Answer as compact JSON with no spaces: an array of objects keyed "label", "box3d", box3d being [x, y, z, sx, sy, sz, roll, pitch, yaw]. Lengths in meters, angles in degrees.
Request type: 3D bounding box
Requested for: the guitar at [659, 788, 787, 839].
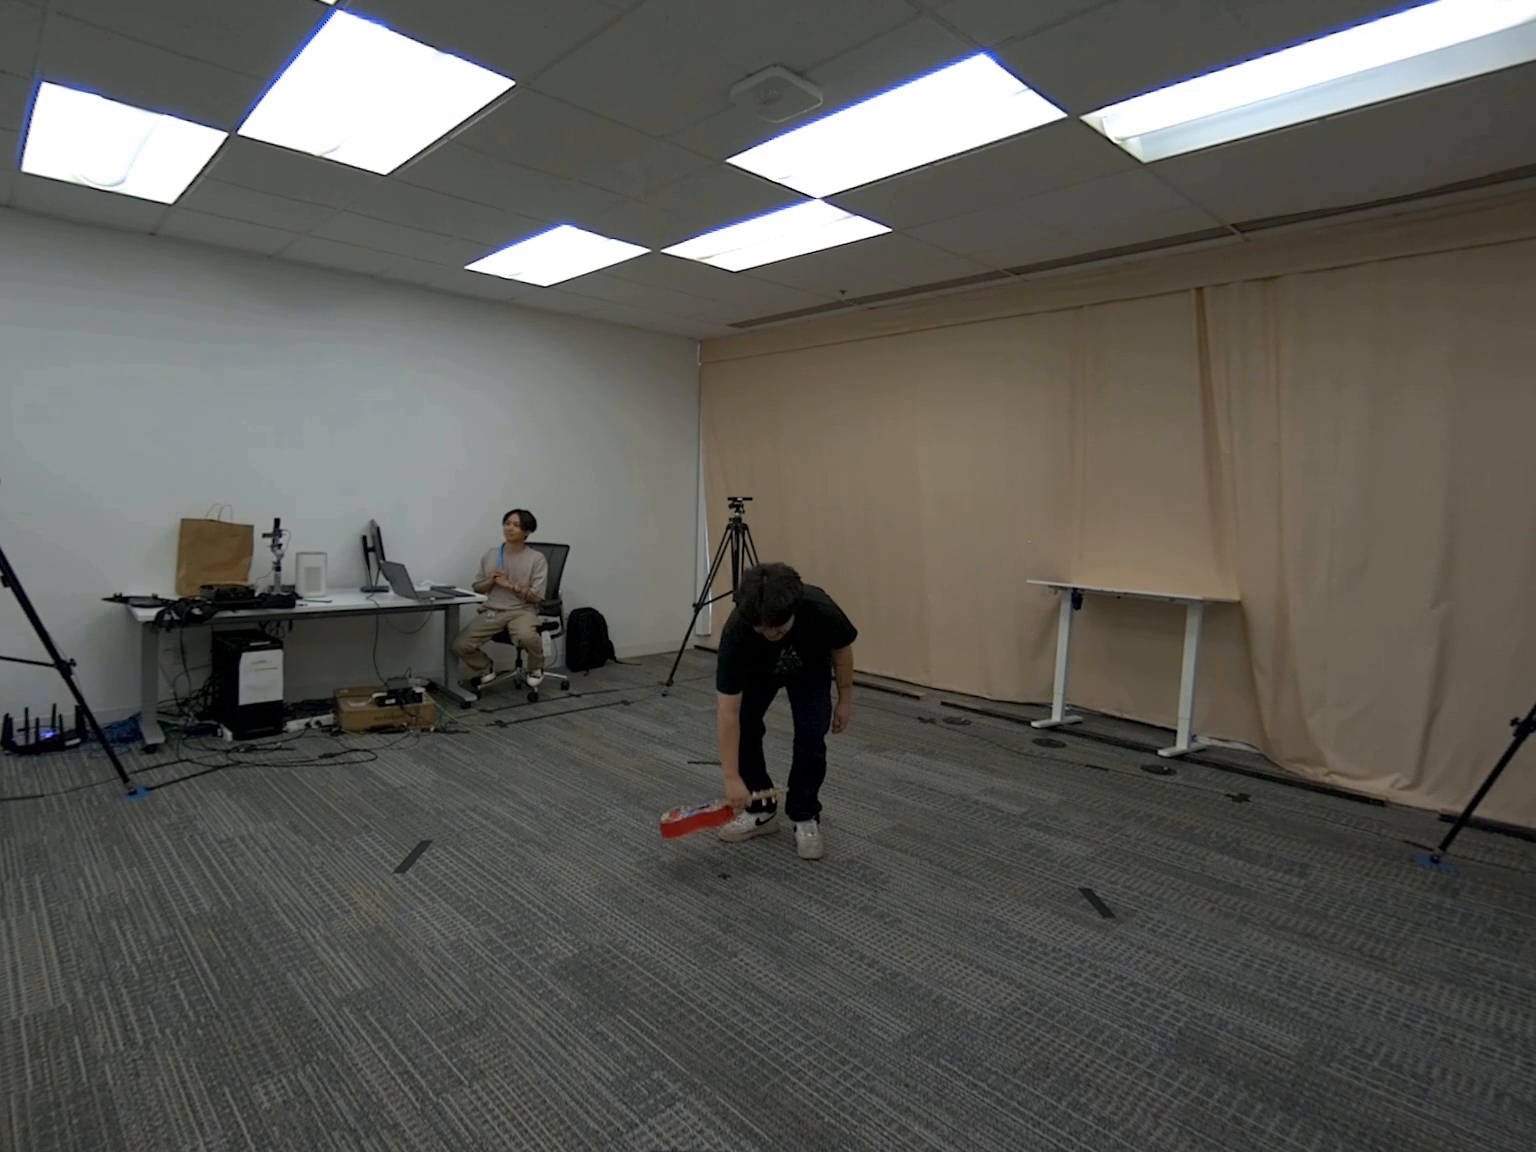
[{"label":"guitar","box3d":[-0.179,0.879,3.121,0.501,0.071,0.191,-13,0,11]}]
